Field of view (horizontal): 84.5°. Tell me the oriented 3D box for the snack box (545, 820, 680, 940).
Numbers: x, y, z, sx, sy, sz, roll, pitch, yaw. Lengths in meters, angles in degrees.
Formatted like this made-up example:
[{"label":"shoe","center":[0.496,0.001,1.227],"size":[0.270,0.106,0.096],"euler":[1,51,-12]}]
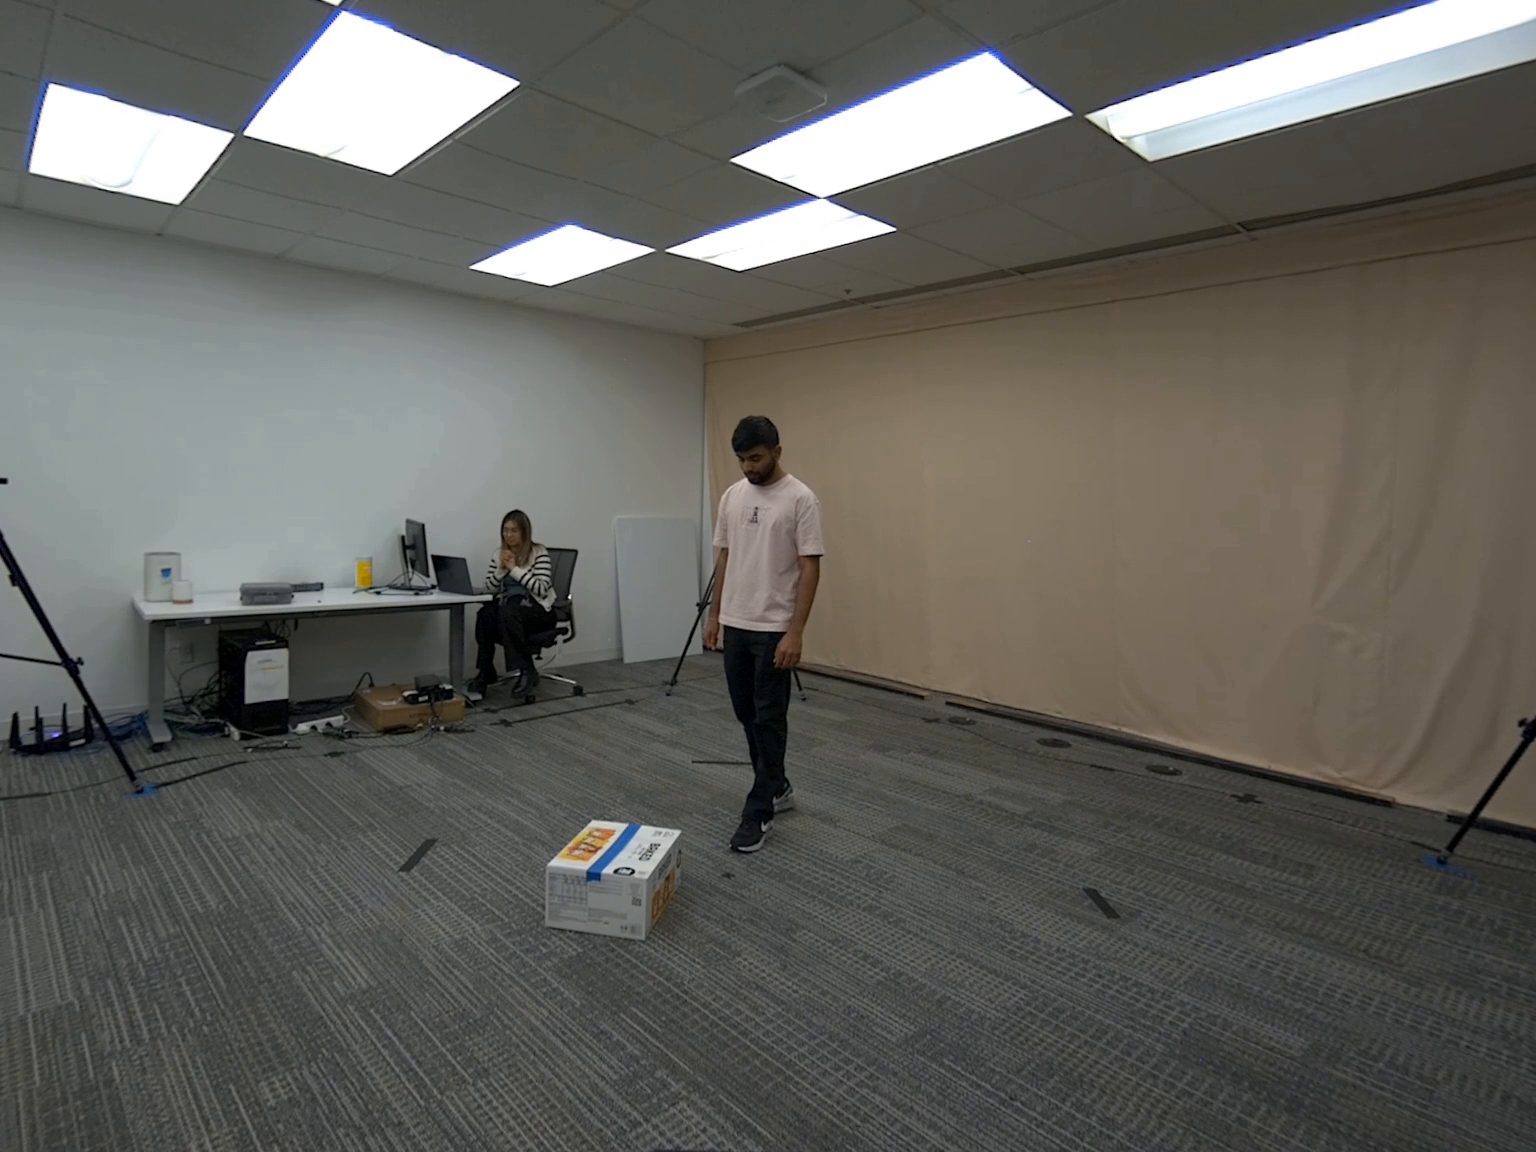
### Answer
[{"label":"snack box","center":[-0.523,1.022,2.849],"size":[0.343,0.205,0.402],"euler":[2,5,11]}]
